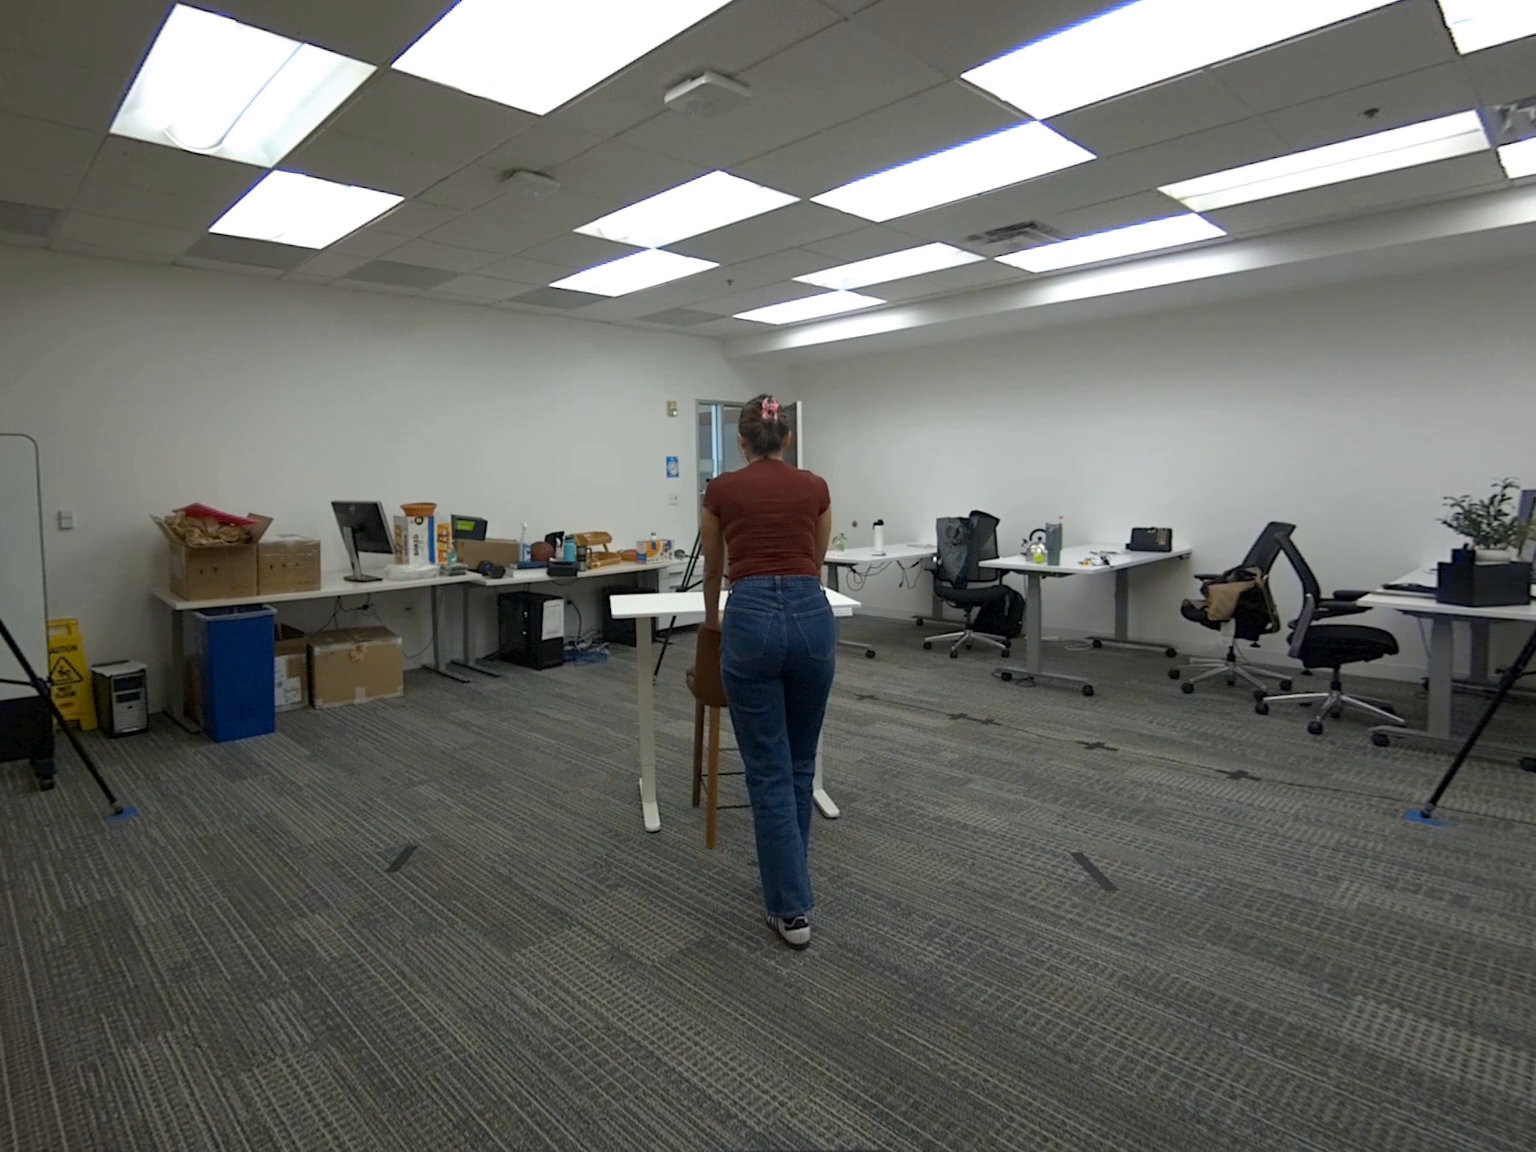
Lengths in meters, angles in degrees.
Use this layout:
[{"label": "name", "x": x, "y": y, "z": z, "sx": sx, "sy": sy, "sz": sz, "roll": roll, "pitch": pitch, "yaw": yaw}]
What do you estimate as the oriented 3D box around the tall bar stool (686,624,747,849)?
[{"label": "tall bar stool", "x": -0.092, "y": 0.571, "z": 3.434, "sx": 0.453, "sy": 0.885, "sz": 0.474, "roll": -1, "pitch": 6, "yaw": -8}]
